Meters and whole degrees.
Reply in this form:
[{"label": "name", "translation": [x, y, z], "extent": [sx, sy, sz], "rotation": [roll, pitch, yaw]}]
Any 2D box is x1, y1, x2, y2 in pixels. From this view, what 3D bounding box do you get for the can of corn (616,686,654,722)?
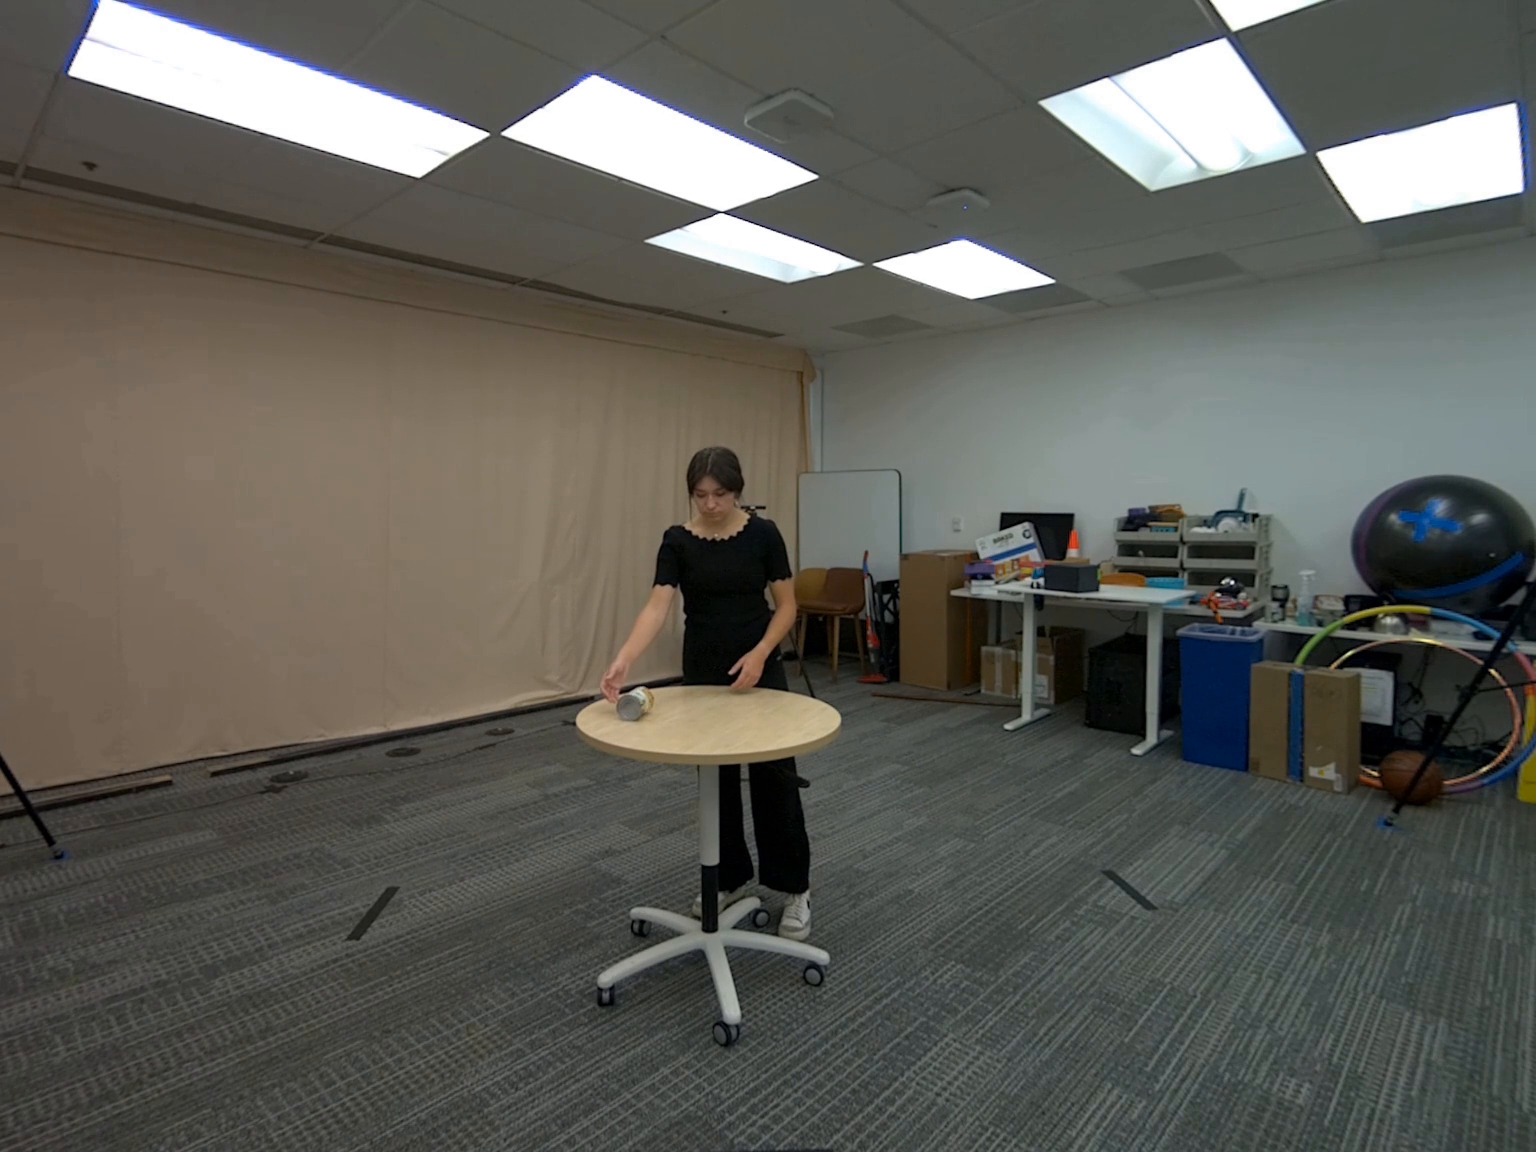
[{"label": "can of corn", "translation": [-0.385, 0.371, 2.420], "extent": [0.075, 0.074, 0.110], "rotation": [1, 4, 8]}]
